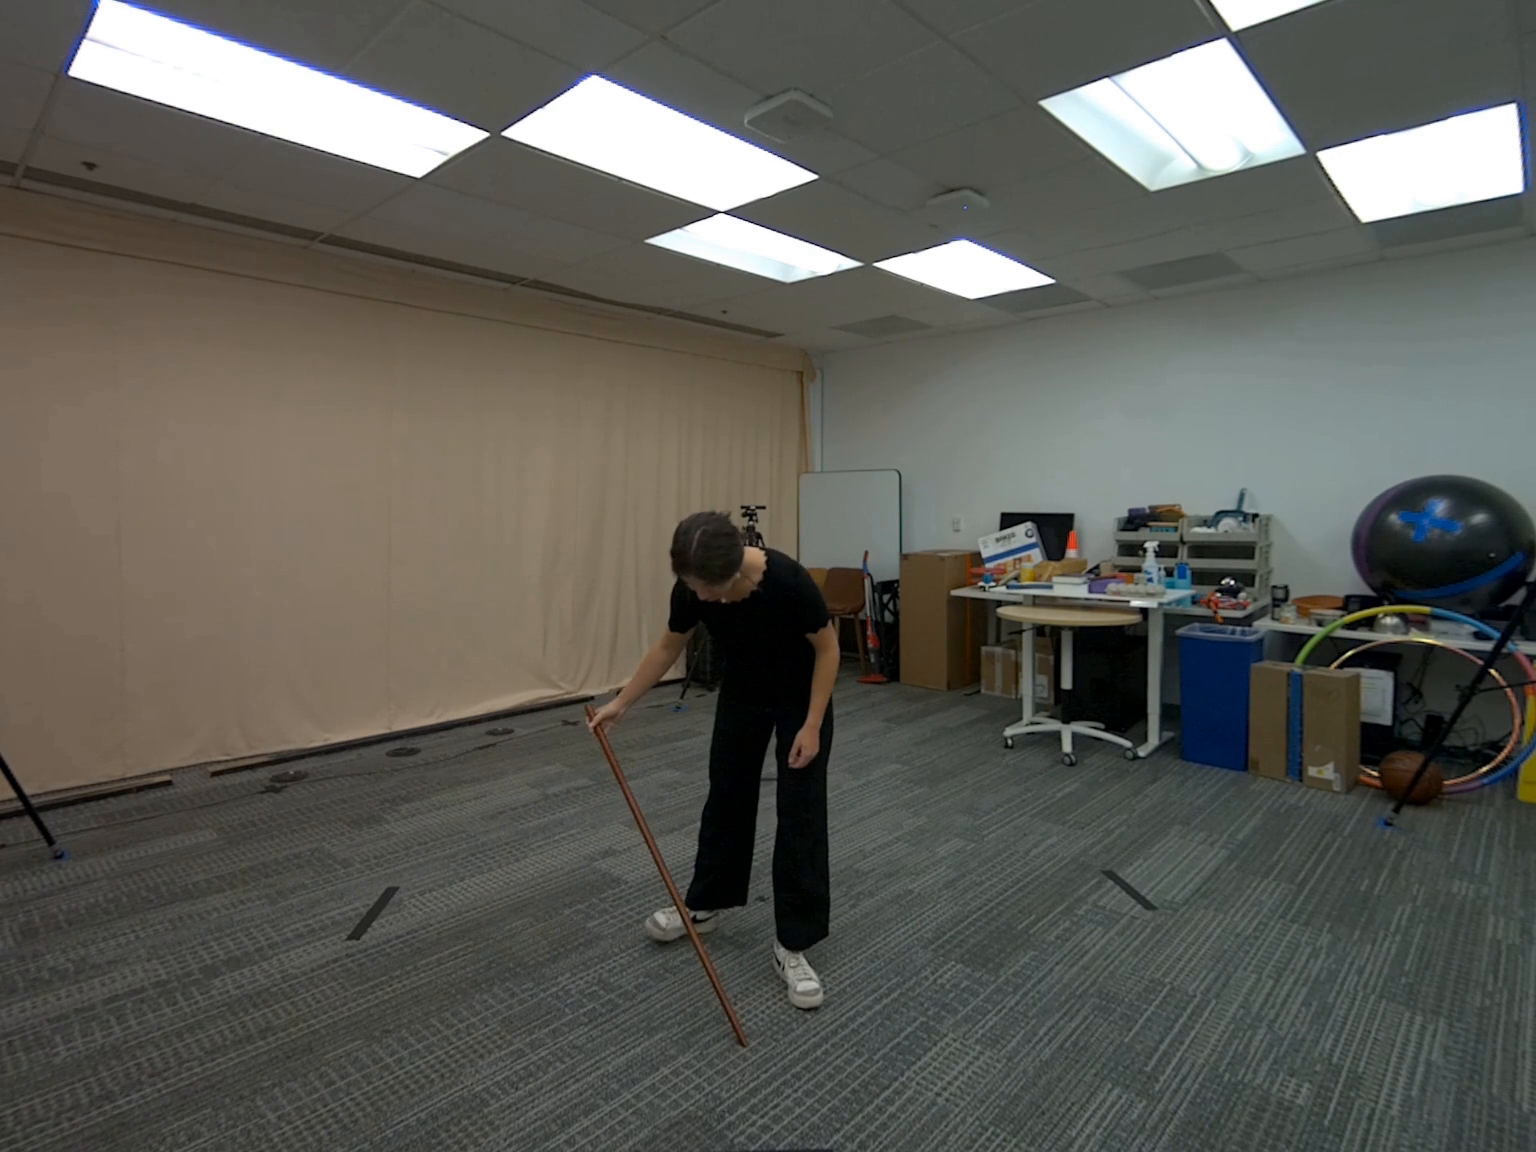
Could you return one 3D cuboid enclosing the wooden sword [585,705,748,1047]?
[{"bbox_3d":[-0.291,0.829,2.395,0.051,1.053,0.023,-32,-27,-3],"label":"wooden sword"}]
